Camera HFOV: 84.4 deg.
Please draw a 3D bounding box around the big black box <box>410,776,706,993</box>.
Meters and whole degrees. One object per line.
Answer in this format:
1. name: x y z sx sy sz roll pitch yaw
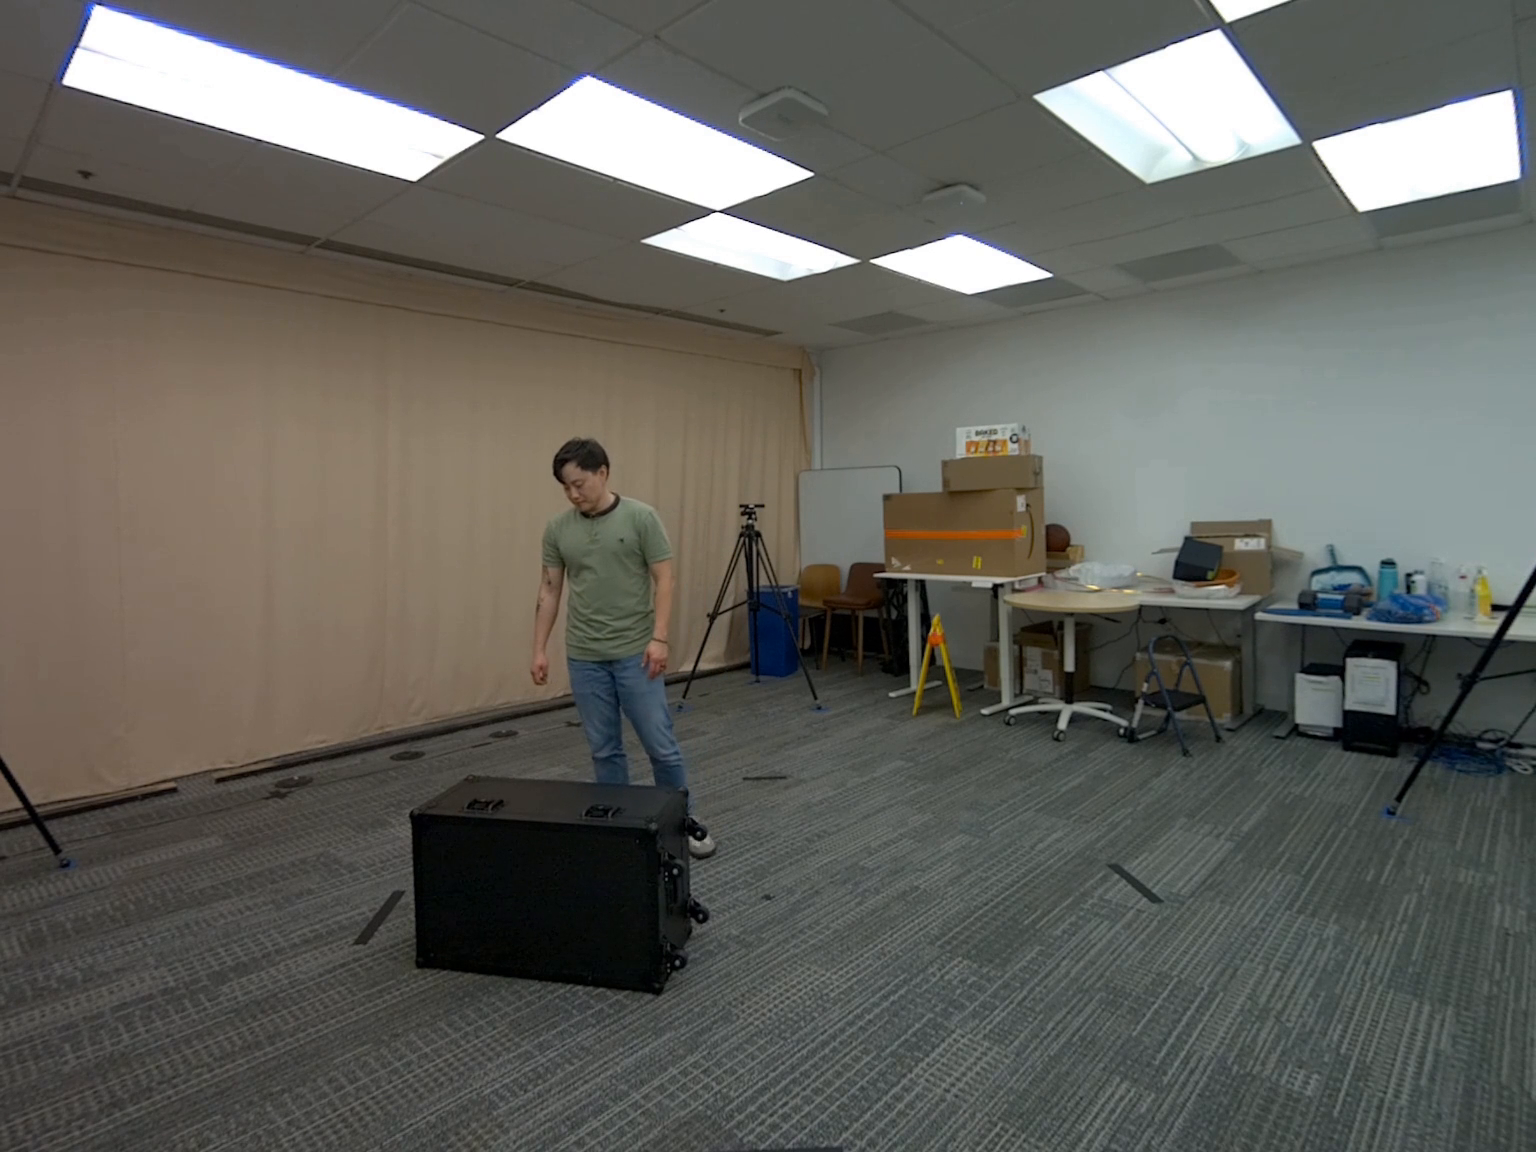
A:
1. big black box: -0.690 0.929 2.662 0.873 0.520 0.392 0 3 11
